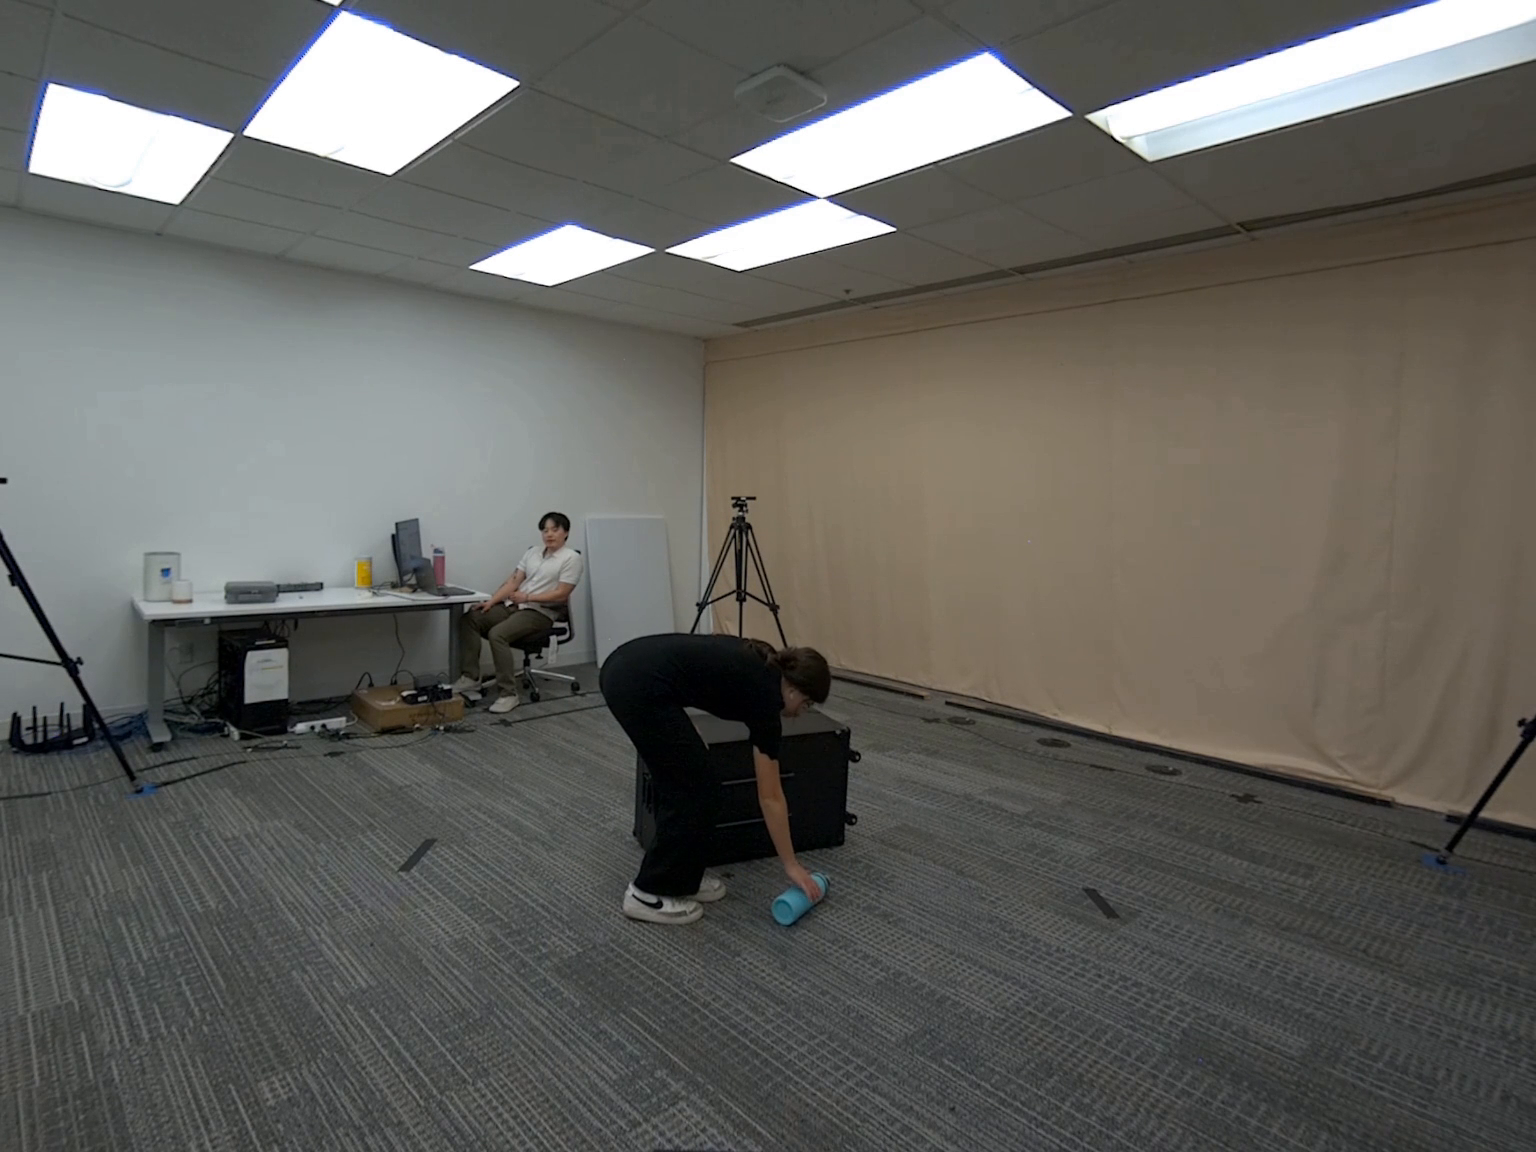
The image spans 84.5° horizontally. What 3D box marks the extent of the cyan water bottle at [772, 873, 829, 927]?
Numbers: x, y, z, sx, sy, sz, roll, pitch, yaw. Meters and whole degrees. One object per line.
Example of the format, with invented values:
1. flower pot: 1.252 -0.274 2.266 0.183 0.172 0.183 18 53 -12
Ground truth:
1. cyan water bottle: 0.102 1.087 2.857 0.094 0.092 0.278 4 4 30
